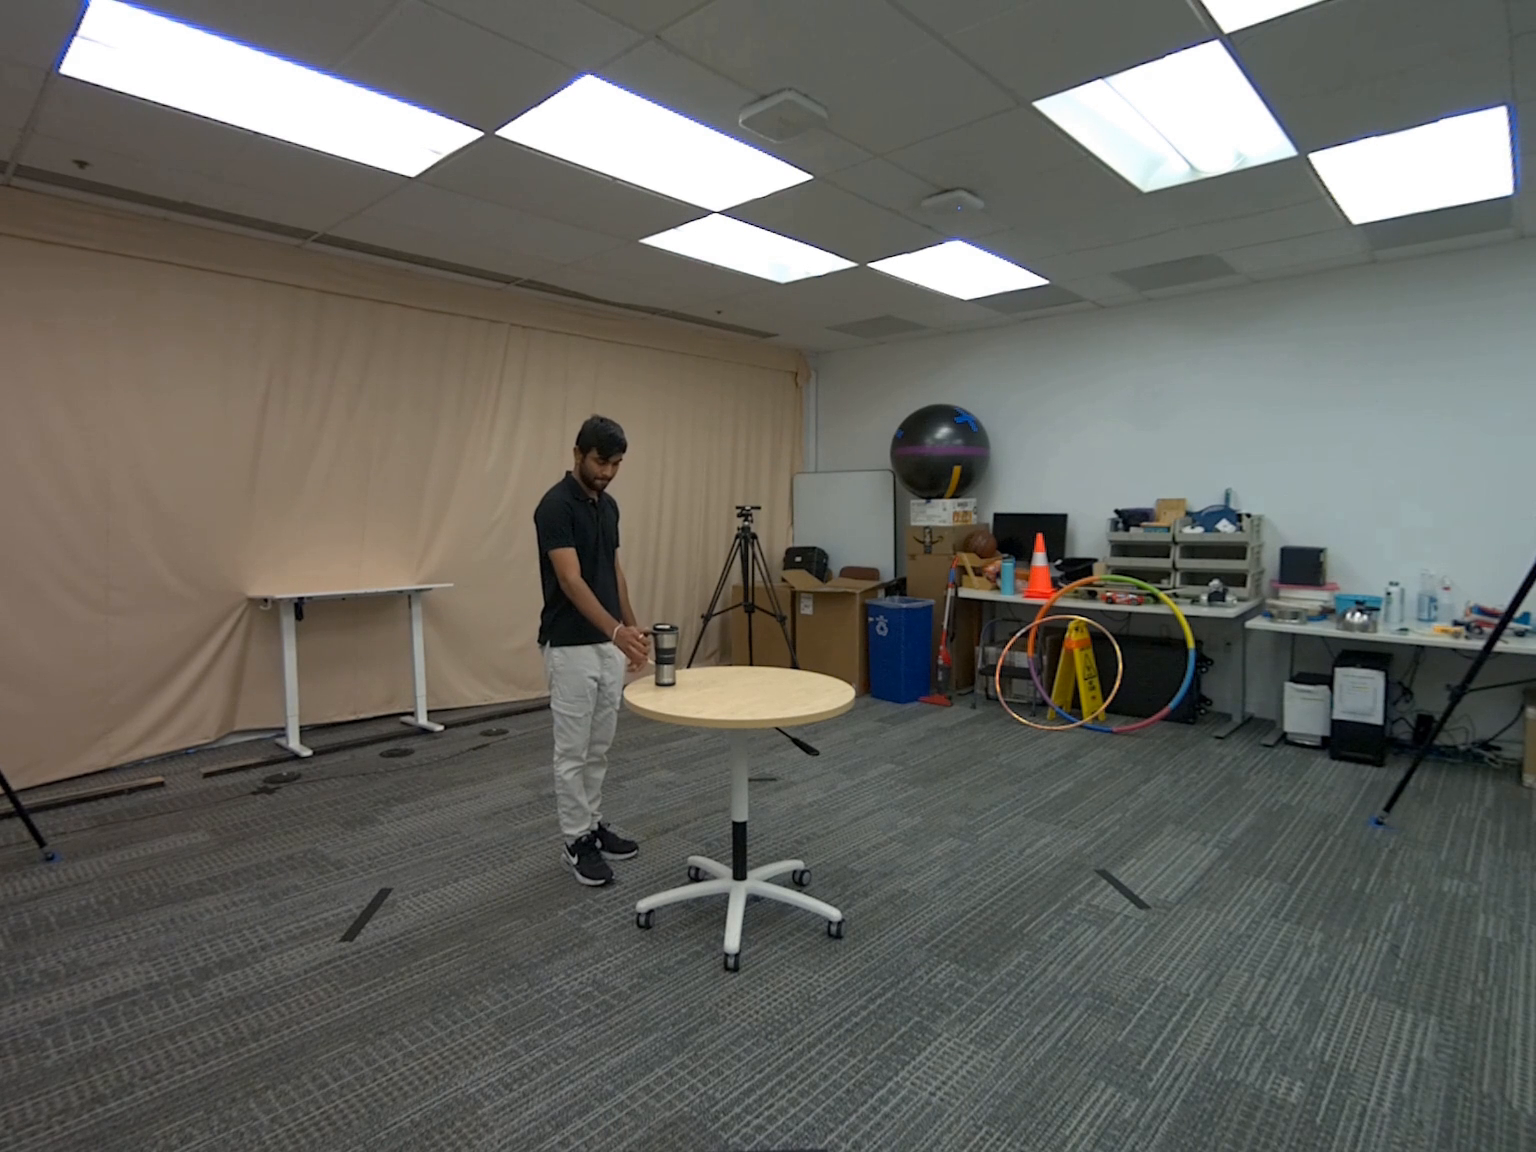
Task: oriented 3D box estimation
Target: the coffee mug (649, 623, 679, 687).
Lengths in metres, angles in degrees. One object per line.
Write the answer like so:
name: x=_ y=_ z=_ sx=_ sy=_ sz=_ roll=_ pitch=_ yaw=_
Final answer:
coffee mug: x=-0.368 y=0.272 z=2.876 sx=0.124 sy=0.202 sz=0.086 roll=4 pitch=7 yaw=18
